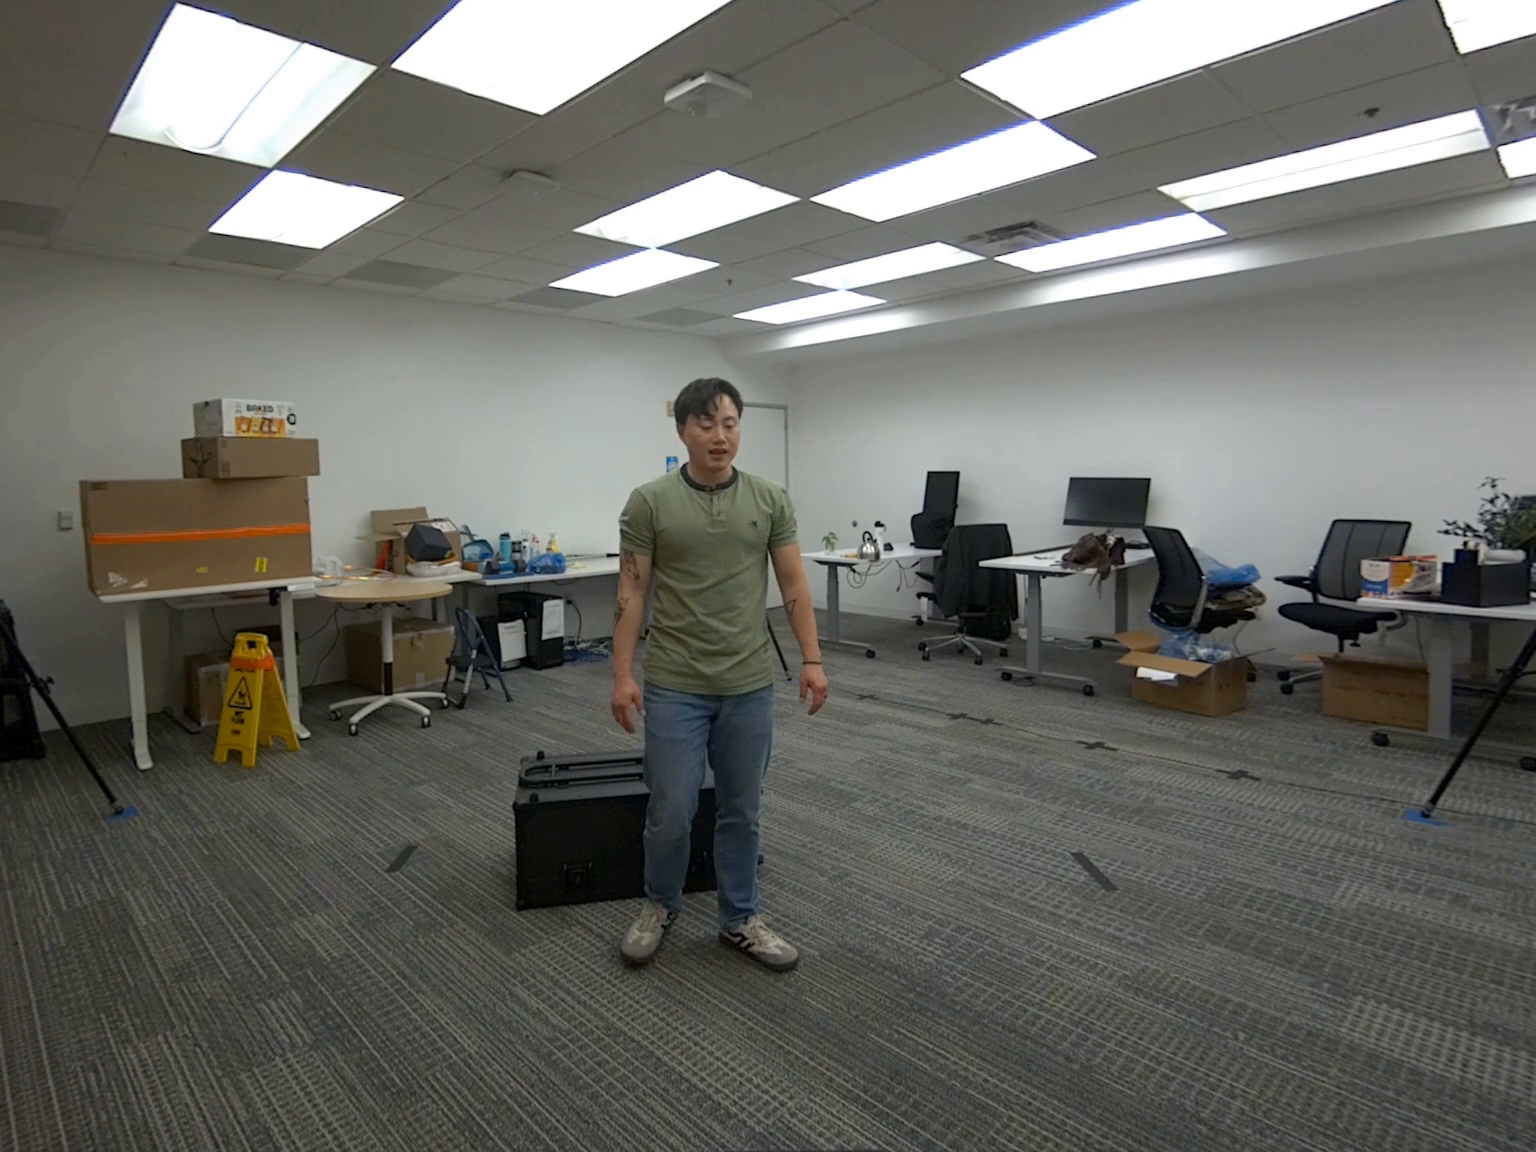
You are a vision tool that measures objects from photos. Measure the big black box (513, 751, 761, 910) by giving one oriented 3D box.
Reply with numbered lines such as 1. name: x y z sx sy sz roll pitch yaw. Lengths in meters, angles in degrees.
1. big black box: -0.467 0.863 3.089 0.852 0.395 0.529 -1 6 -11
